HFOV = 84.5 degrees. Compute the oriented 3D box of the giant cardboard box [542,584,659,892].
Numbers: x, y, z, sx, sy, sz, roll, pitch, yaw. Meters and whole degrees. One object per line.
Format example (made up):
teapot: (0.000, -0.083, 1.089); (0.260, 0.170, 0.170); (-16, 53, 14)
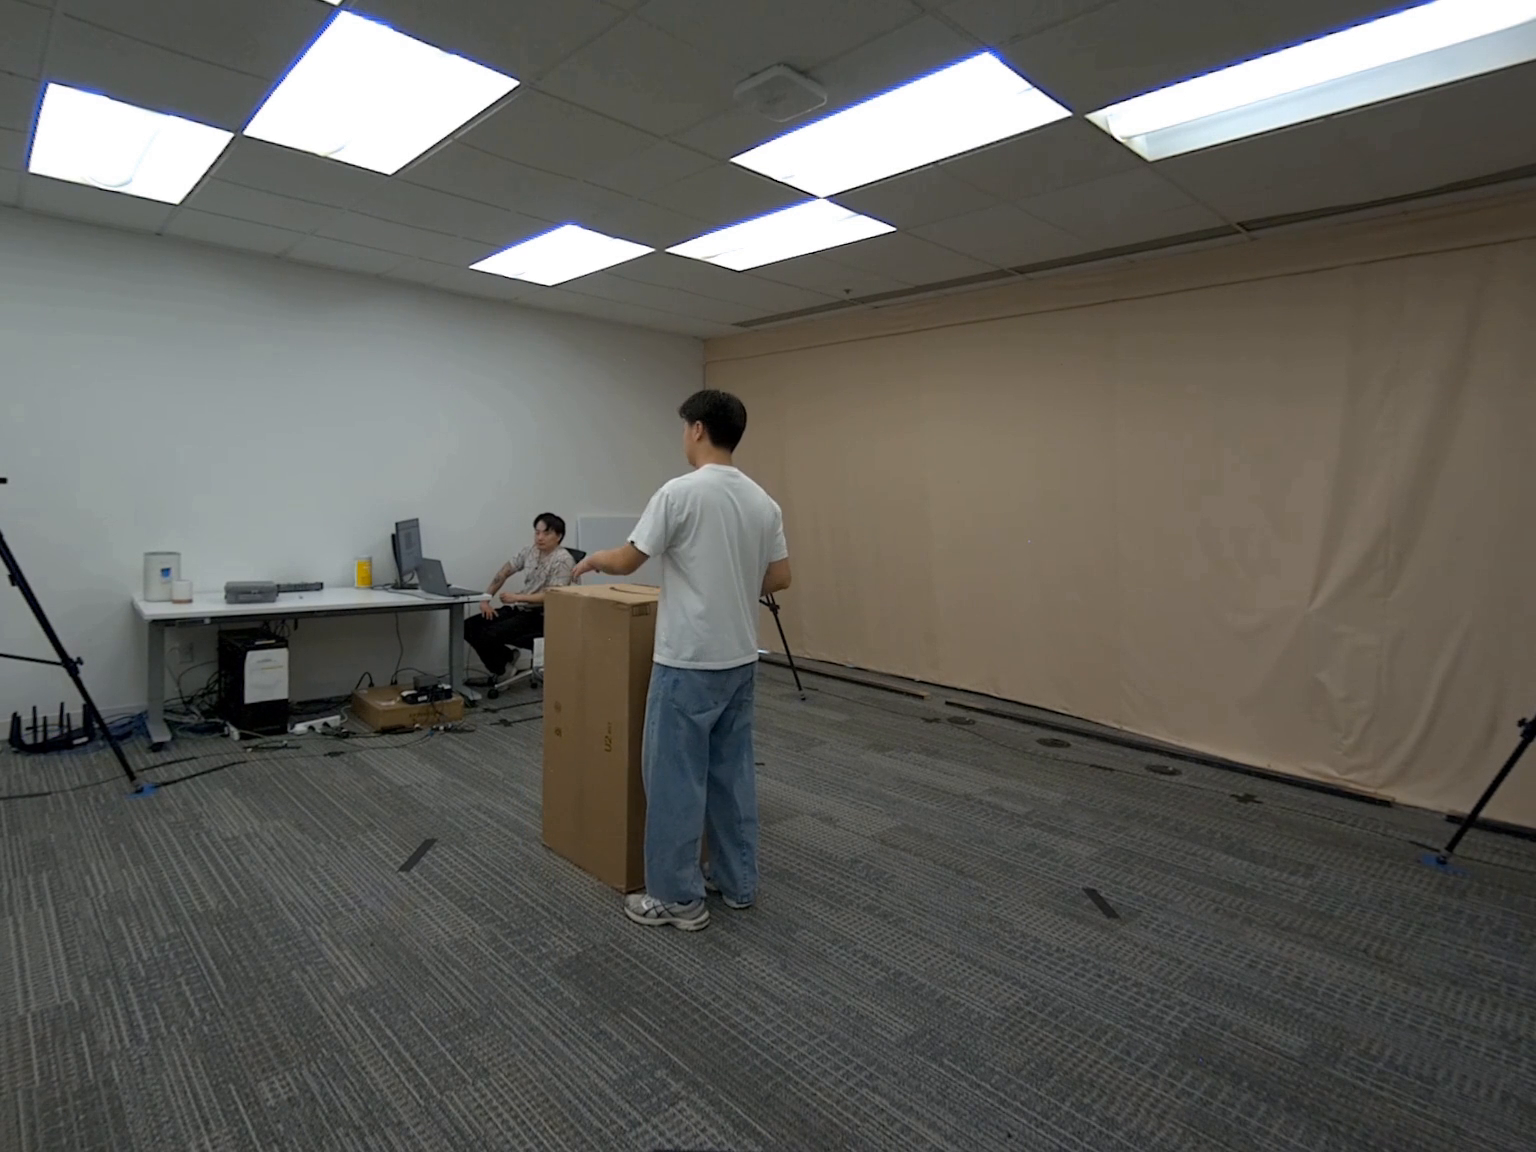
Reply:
giant cardboard box: (-0.551, 0.572, 3.270); (0.416, 1.023, 0.592); (-1, 4, -43)
